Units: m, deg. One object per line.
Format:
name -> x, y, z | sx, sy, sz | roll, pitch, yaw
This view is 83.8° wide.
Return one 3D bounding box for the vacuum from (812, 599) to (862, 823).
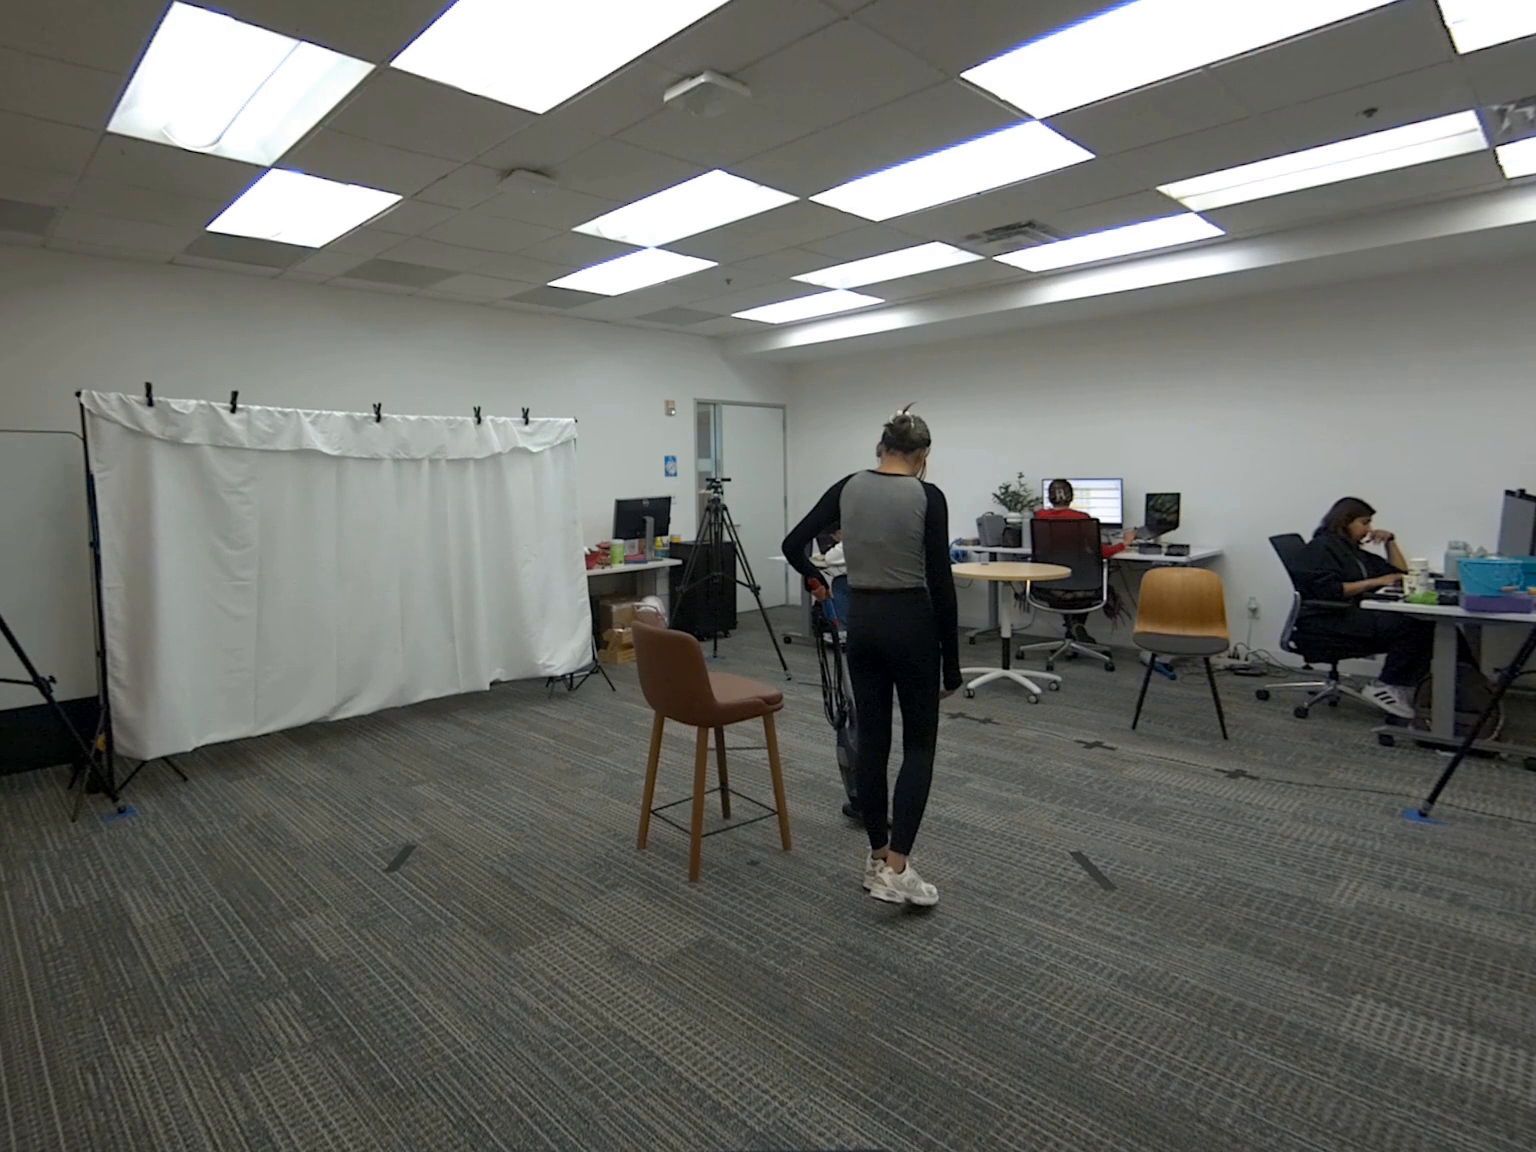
vacuum -> 0.287, 0.498, 3.290 | 0.260, 1.030, 0.142 | 3, 22, 40
